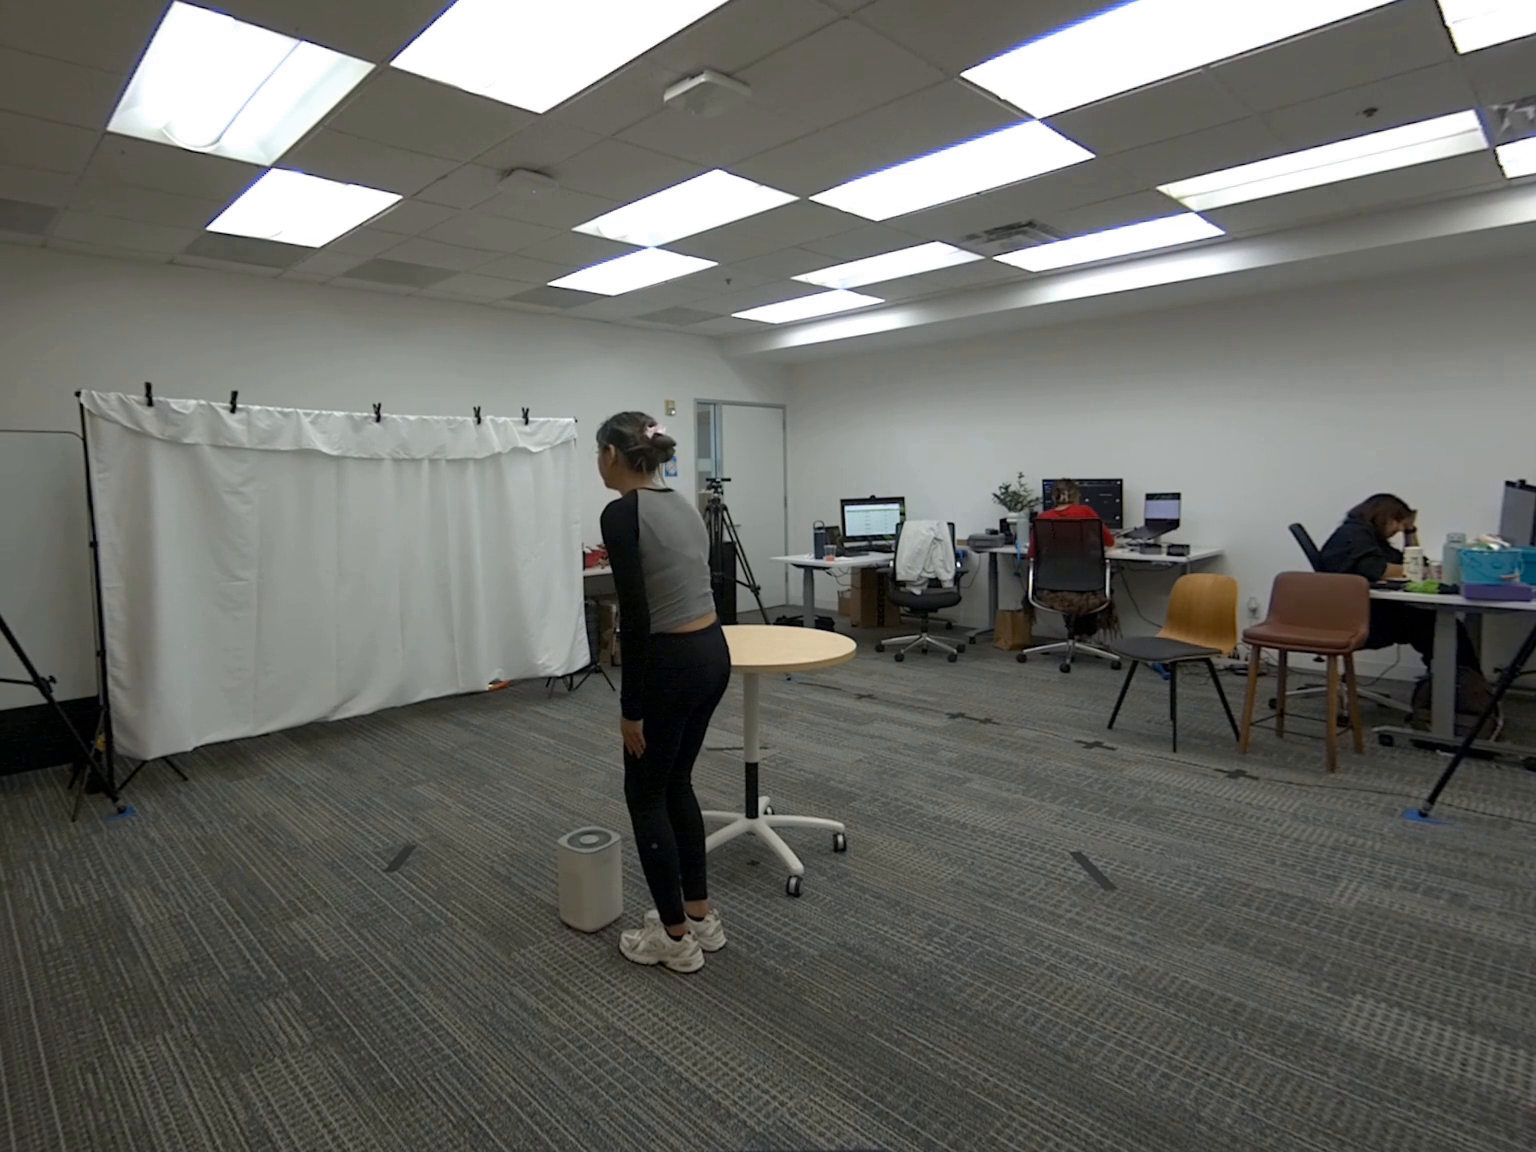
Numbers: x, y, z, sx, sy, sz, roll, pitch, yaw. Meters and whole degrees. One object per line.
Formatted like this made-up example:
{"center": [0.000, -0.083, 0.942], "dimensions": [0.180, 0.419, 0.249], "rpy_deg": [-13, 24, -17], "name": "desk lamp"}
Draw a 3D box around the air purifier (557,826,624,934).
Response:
{"center": [-0.559, 0.964, 2.714], "dimensions": [0.176, 0.264, 0.167], "rpy_deg": [2, 6, 35], "name": "air purifier"}
